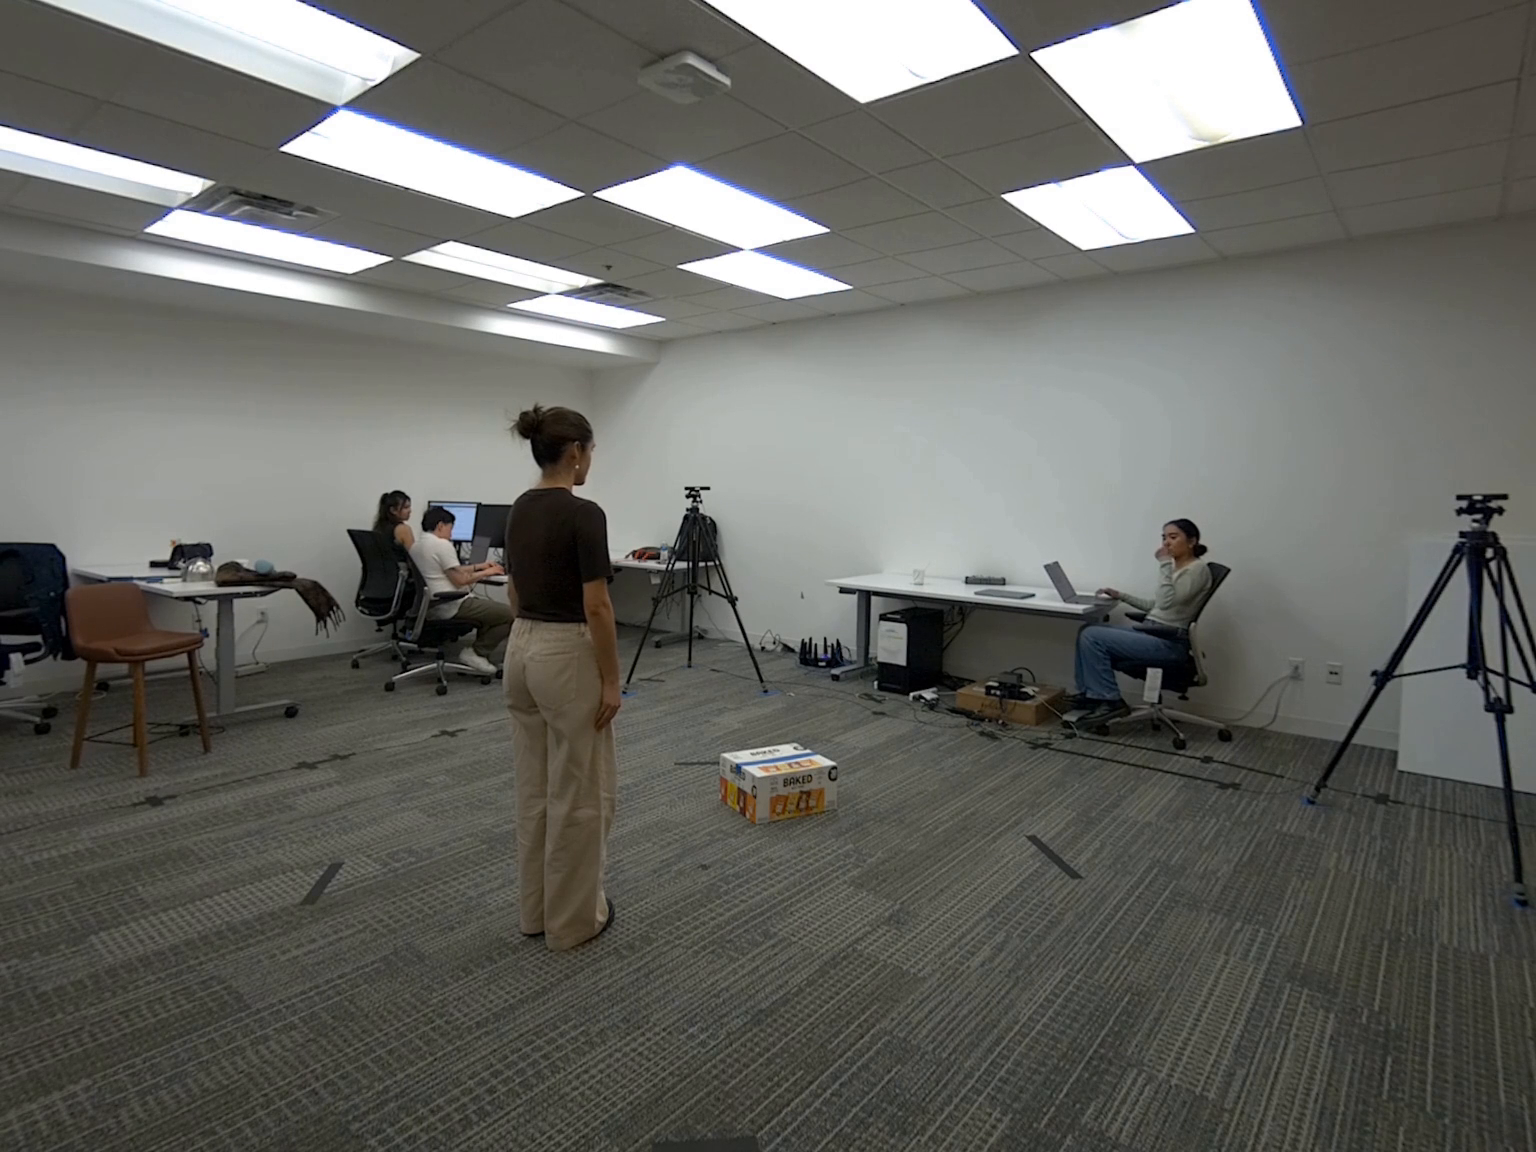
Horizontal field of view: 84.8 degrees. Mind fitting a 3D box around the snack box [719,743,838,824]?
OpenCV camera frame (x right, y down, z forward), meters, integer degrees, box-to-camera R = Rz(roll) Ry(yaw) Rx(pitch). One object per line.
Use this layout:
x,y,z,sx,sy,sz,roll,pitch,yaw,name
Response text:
0.032,0.904,3.753,0.395,0.205,0.350,-2,6,-29,snack box
